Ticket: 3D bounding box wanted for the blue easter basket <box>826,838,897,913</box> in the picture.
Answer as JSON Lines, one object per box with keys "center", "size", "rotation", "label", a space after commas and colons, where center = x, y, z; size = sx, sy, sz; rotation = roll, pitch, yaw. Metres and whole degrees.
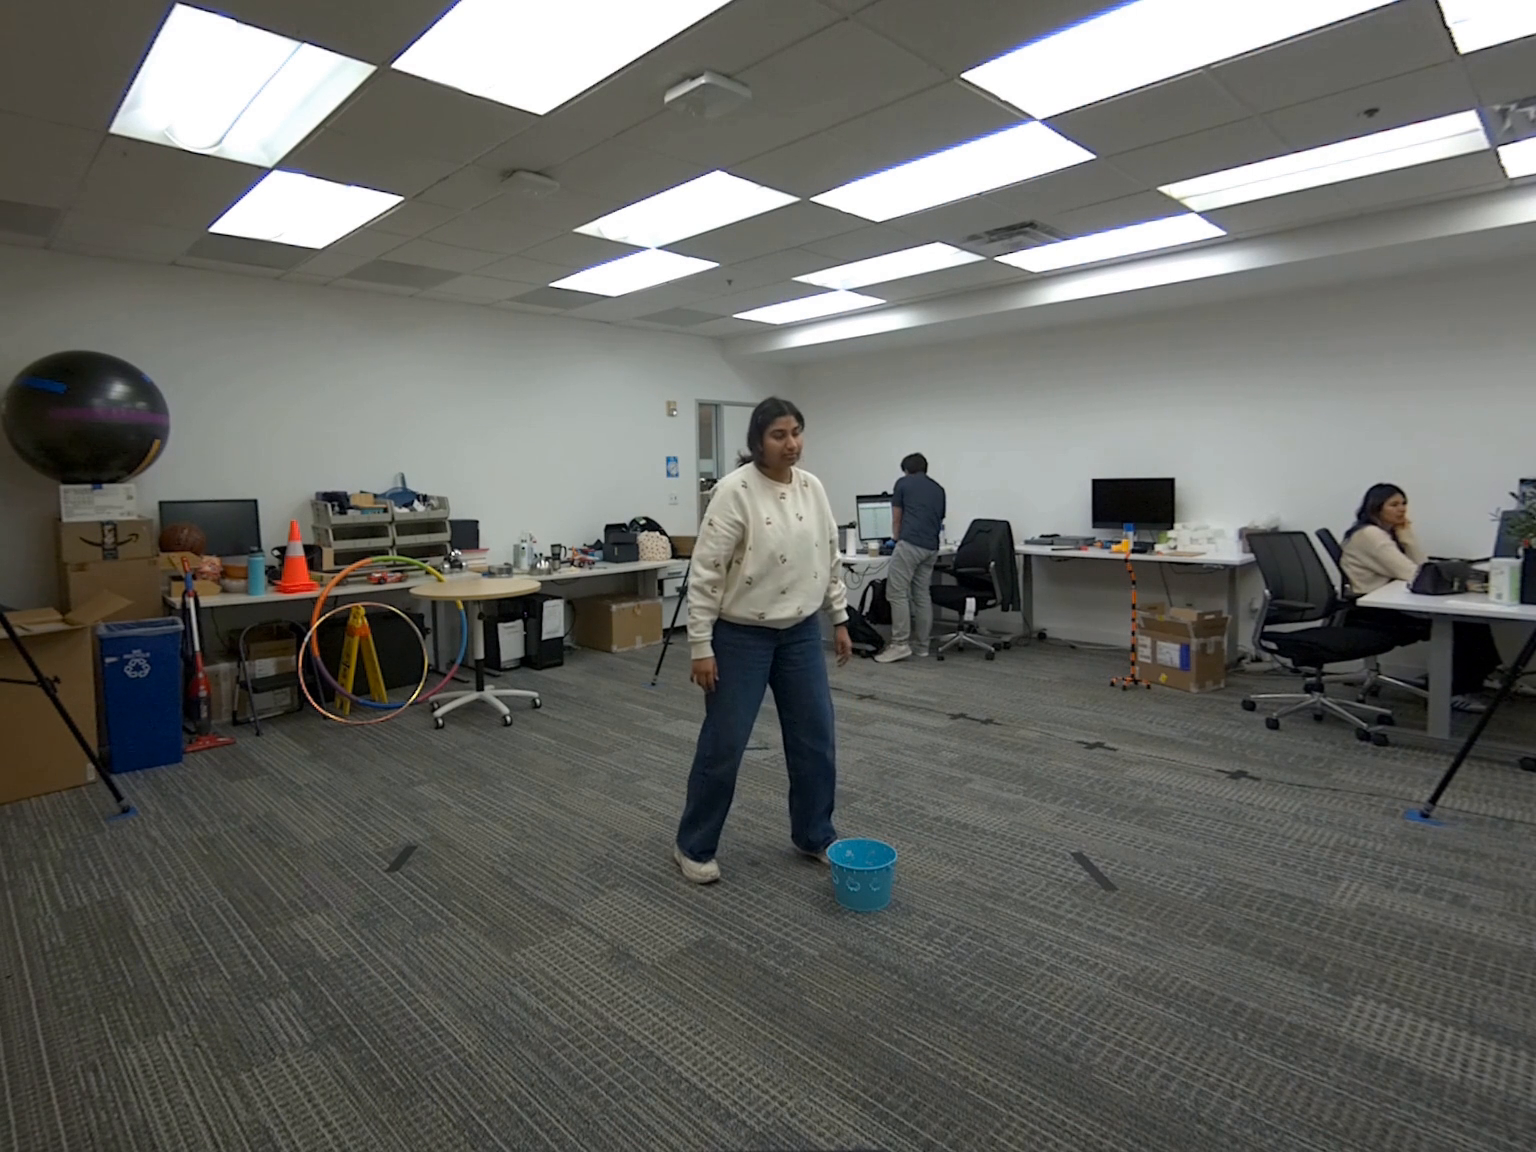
{"center": [0.324, 0.991, 2.833], "size": [0.243, 0.155, 0.245], "rotation": [-2, 6, -2], "label": "blue easter basket"}
